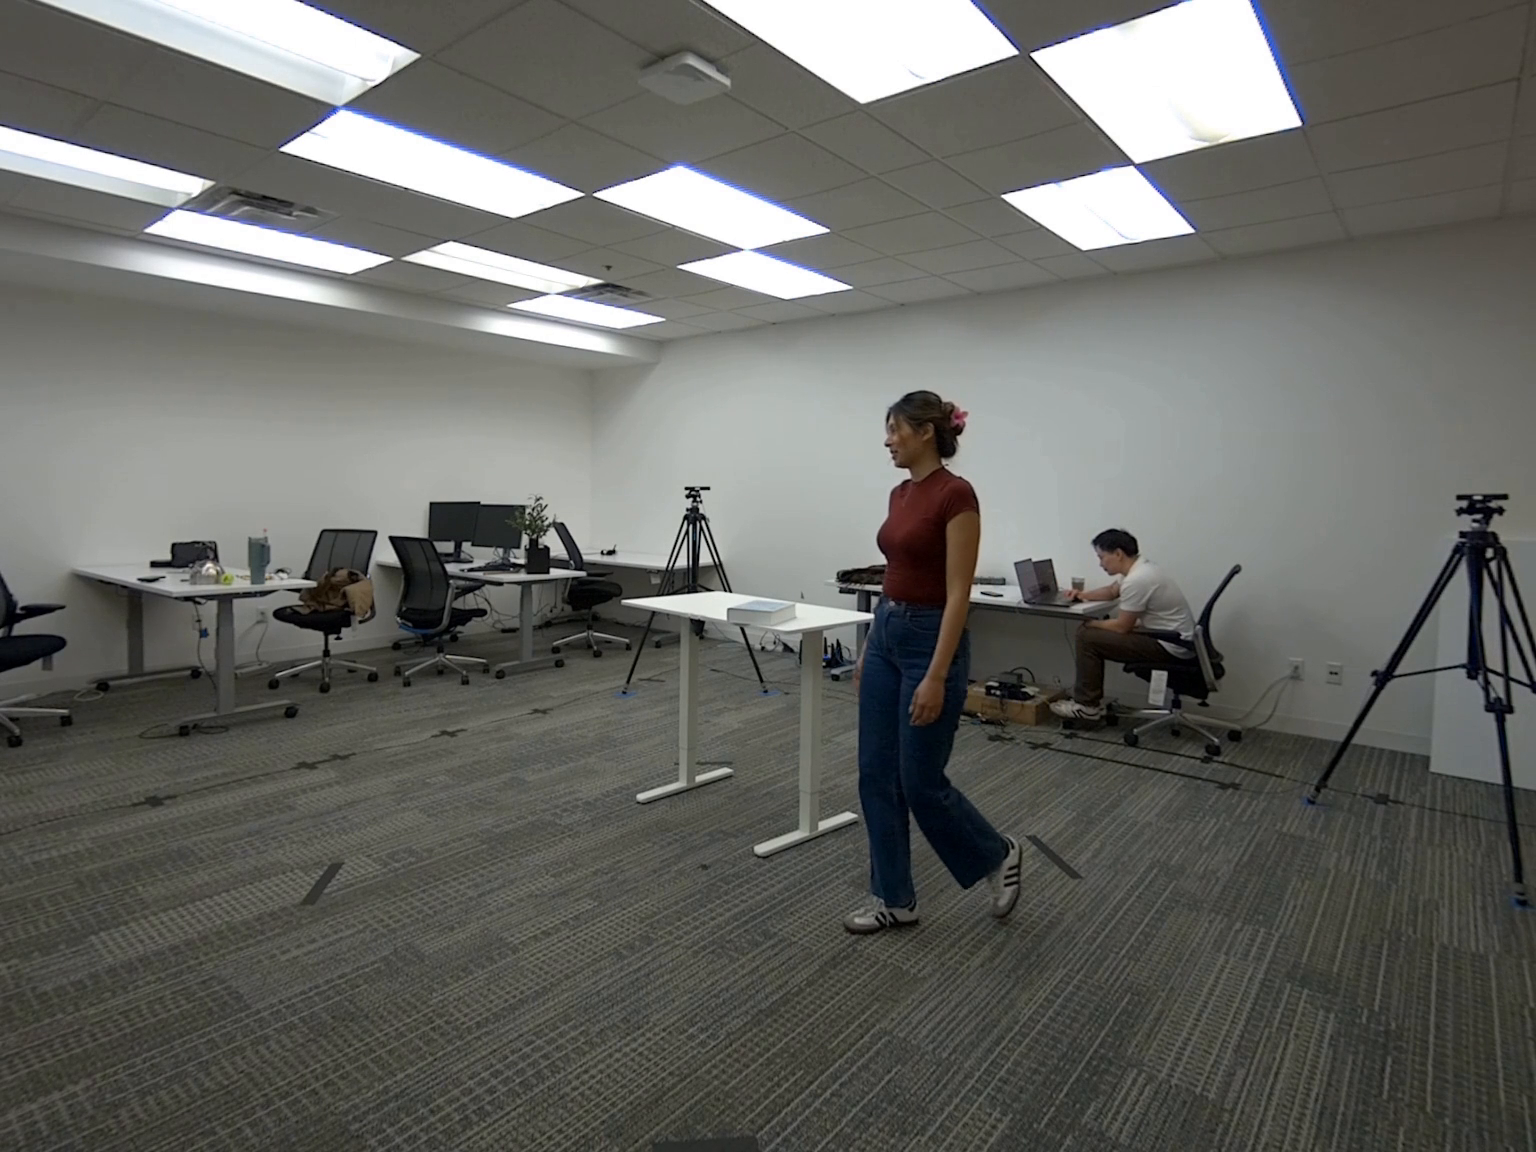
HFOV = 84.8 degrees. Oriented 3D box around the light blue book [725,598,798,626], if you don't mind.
[{"bbox_3d":[-0.025,0.137,3.307,0.196,0.059,0.255,3,6,24],"label":"light blue book"}]
